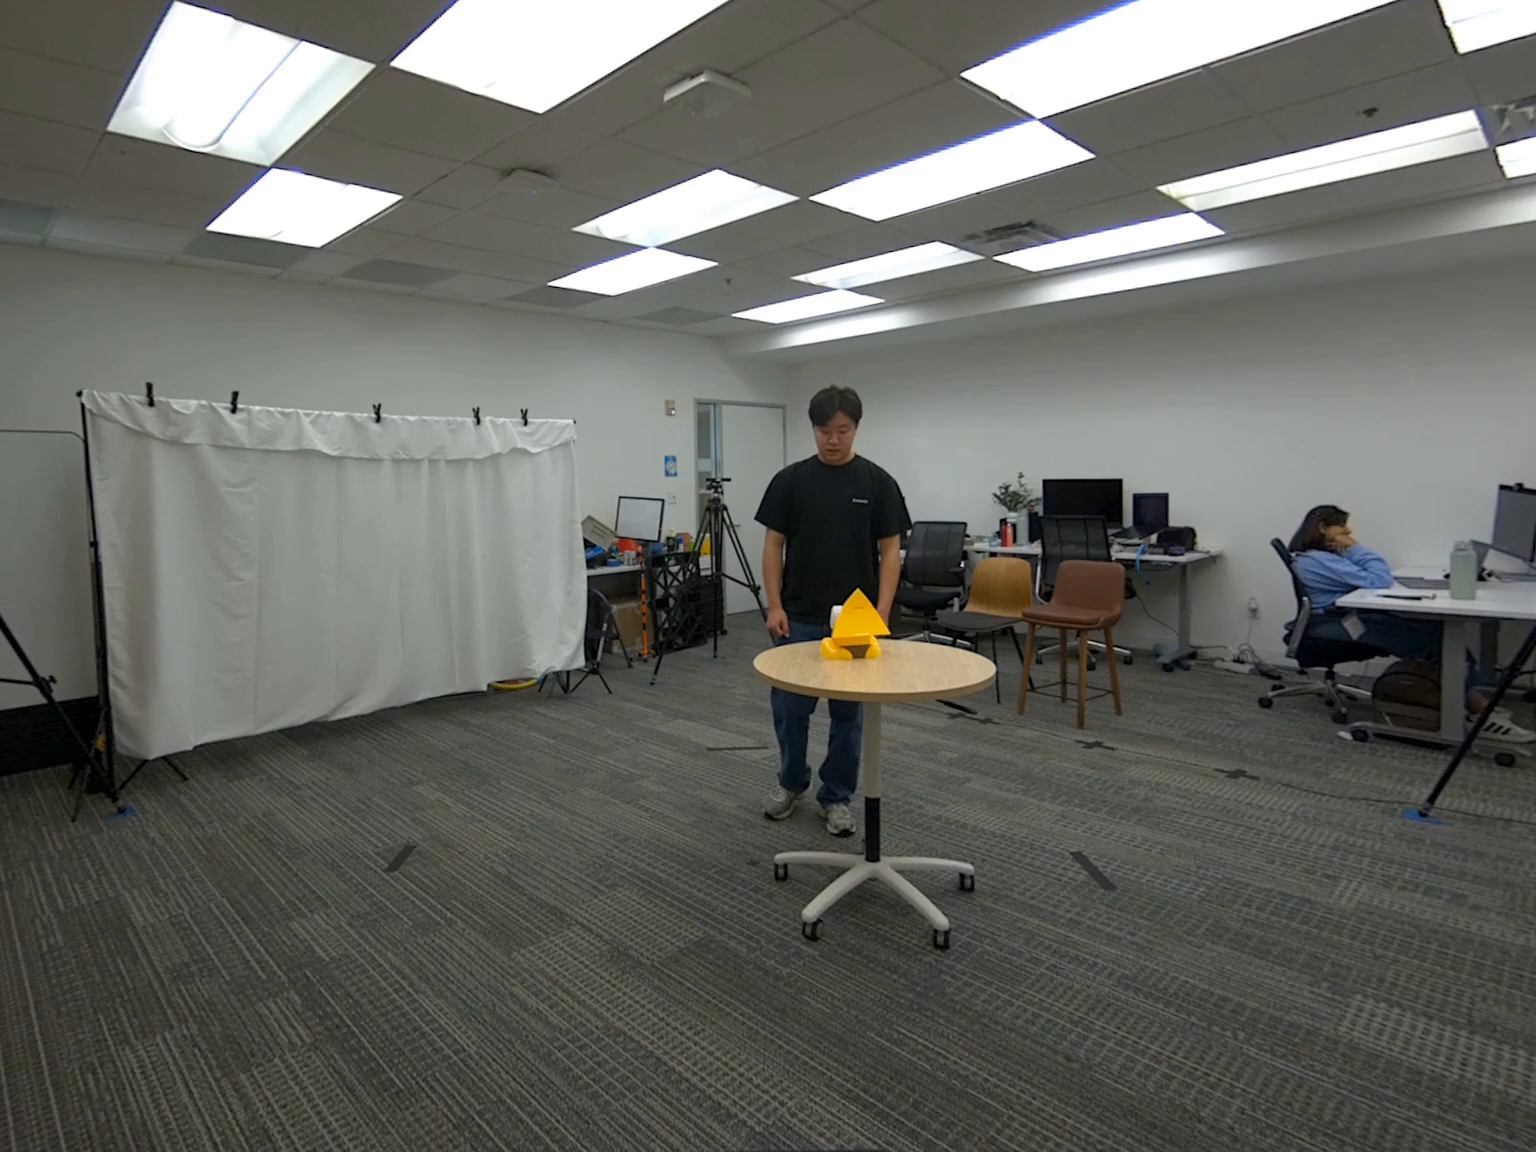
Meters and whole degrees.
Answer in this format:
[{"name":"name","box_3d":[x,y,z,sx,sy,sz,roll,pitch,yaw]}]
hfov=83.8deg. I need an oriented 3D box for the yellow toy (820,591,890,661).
[{"name":"yellow toy","box_3d":[0.285,0.153,2.874,0.202,0.230,0.196,-2,5,-15]}]
